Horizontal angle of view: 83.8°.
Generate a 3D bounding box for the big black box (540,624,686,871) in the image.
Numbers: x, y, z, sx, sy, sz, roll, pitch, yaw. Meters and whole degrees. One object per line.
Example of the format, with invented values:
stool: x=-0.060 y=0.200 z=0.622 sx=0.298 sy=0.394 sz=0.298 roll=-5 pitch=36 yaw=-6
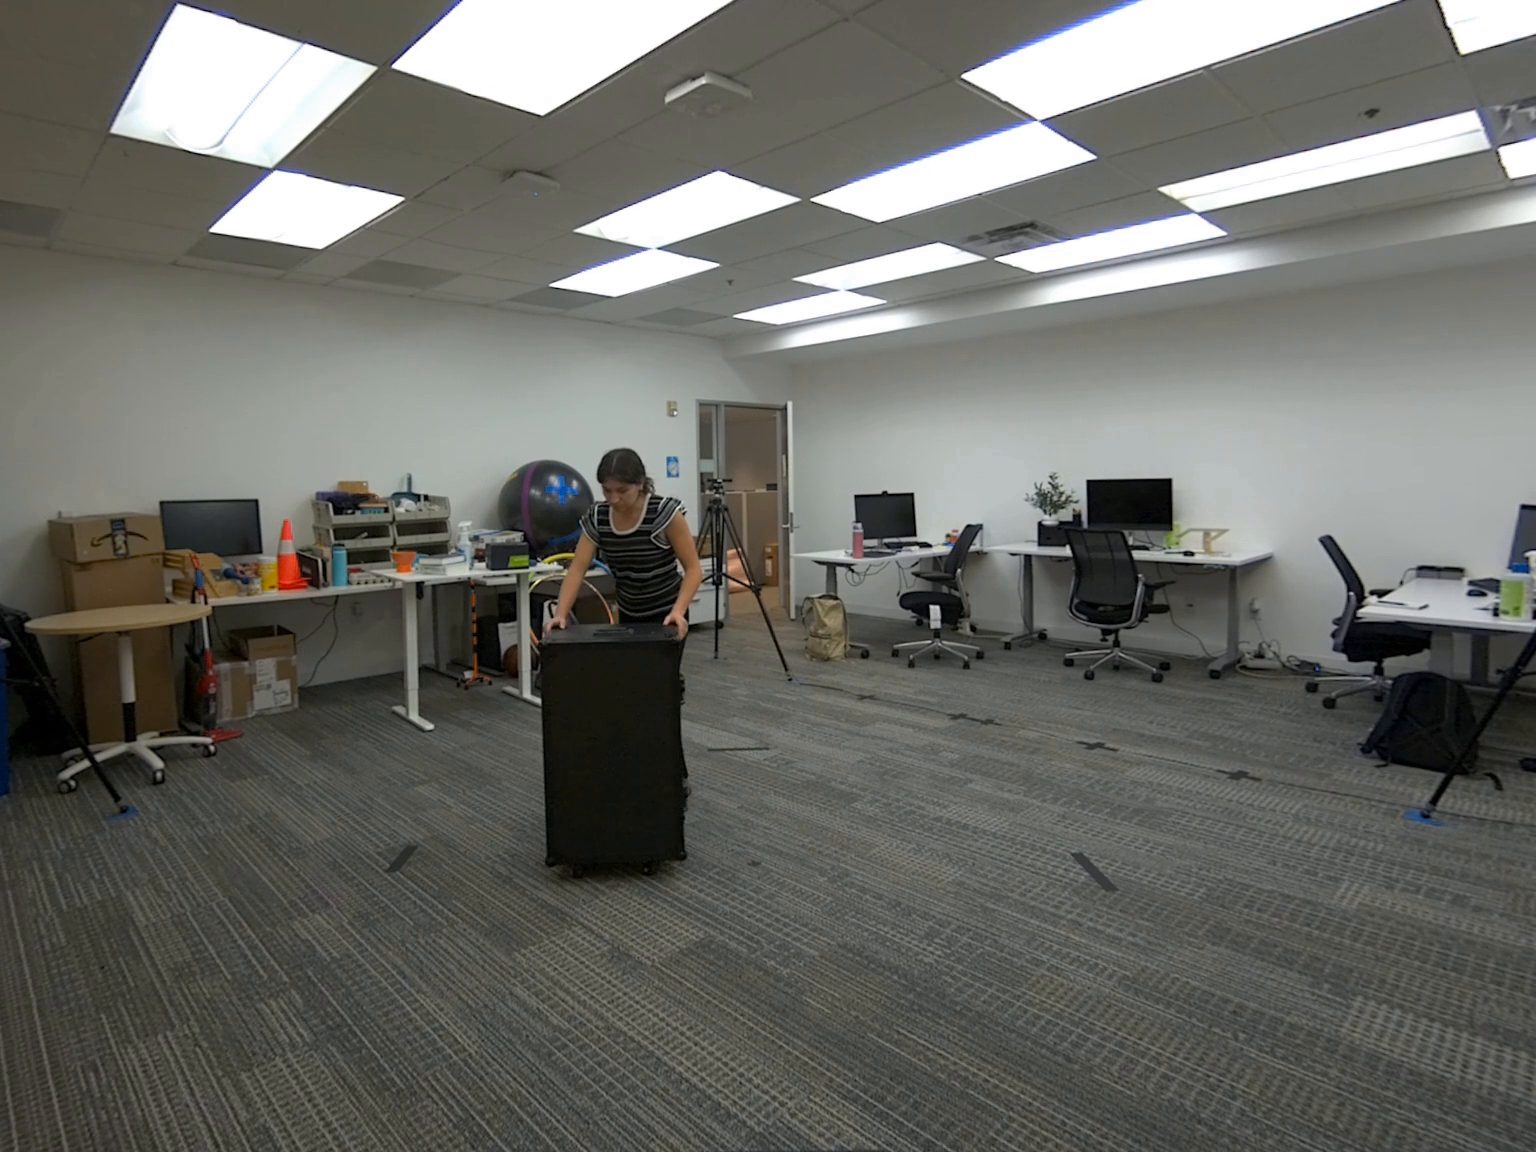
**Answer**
big black box: x=-0.561 y=0.626 z=3.133 sx=0.520 sy=0.859 sz=0.399 roll=-2 pitch=3 yaw=-4
